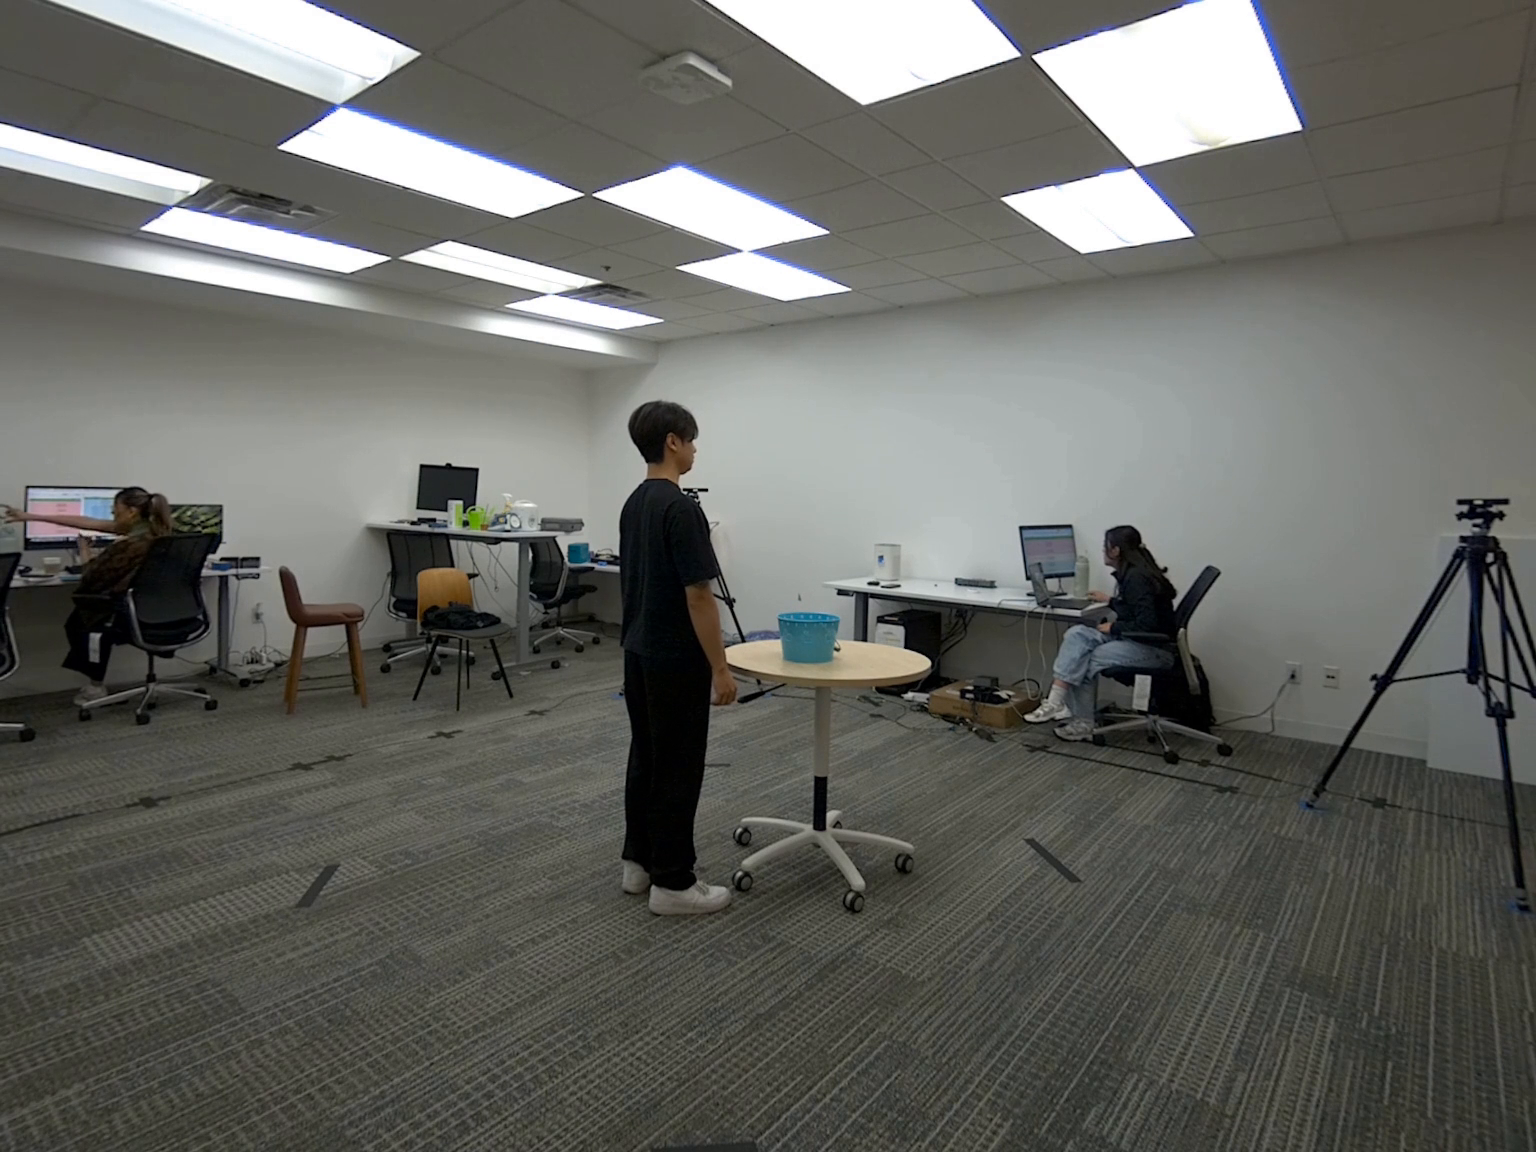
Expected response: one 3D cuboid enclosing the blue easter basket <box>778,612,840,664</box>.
[{"bbox_3d":[0.133,0.226,3.085,0.243,0.155,0.244,1,3,-2],"label":"blue easter basket"}]
